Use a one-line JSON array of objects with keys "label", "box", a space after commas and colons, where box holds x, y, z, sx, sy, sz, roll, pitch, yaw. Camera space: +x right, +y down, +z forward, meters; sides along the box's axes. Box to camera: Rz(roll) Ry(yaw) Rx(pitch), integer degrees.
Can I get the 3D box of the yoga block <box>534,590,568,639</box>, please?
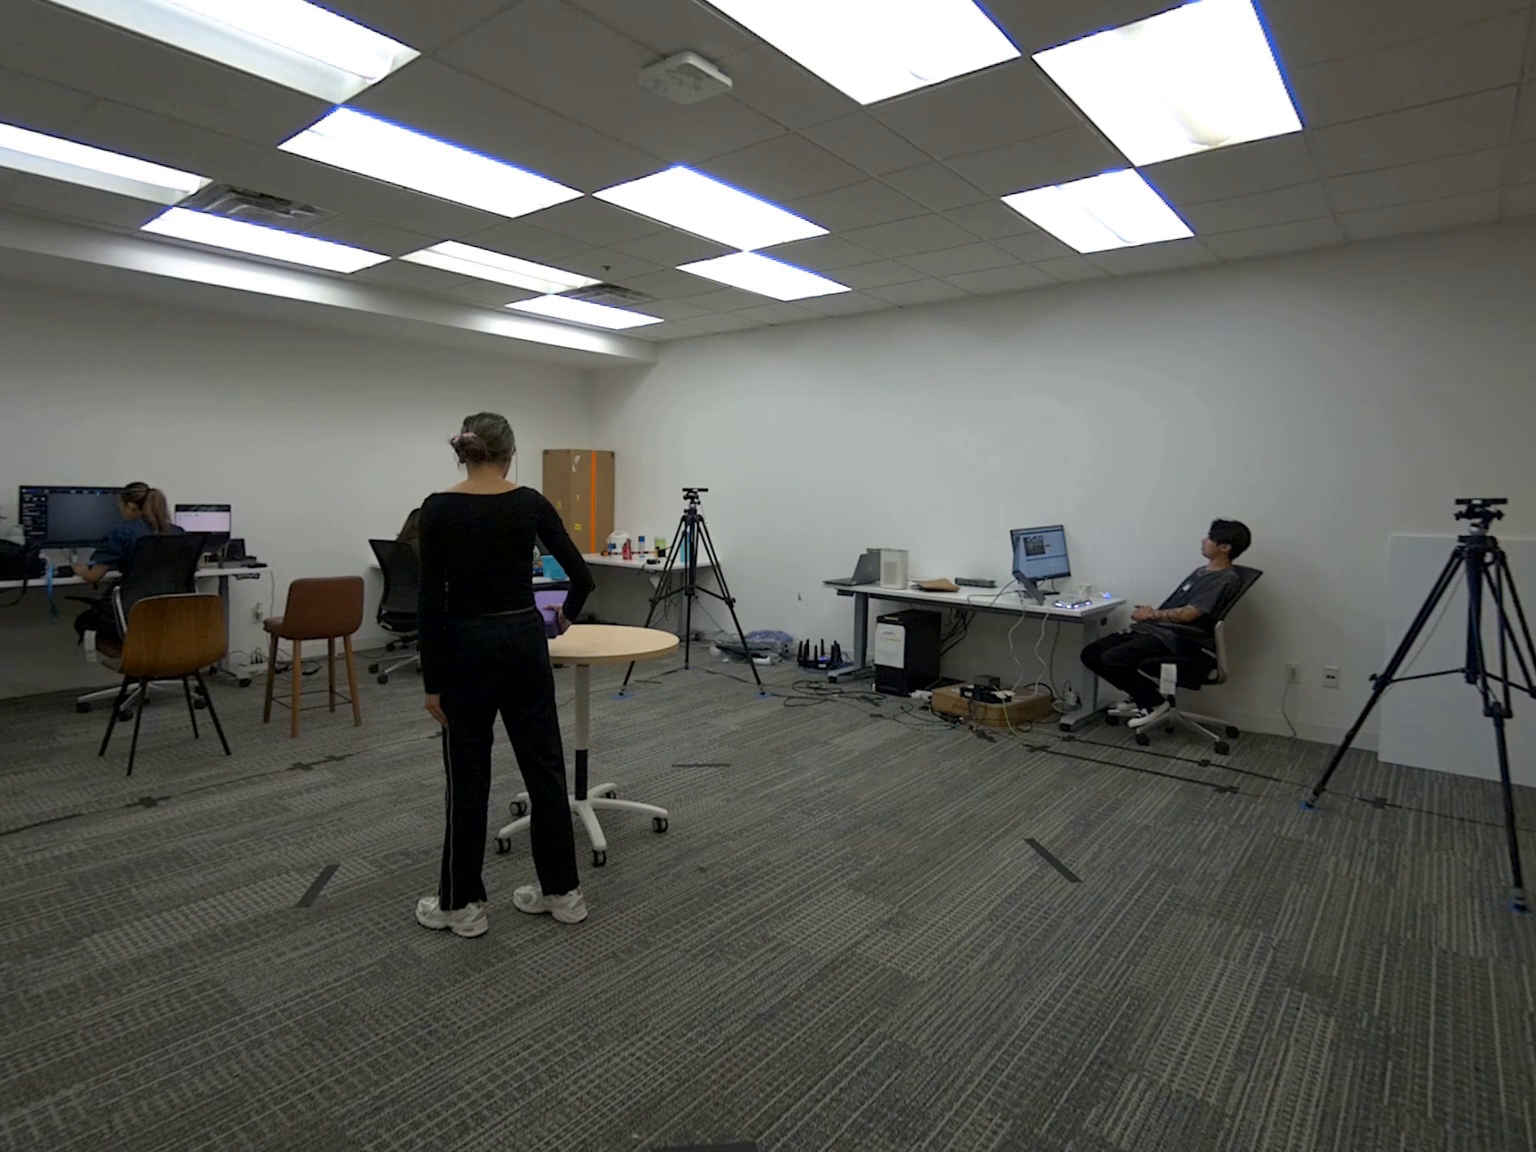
[{"label": "yoga block", "box": [-0.803, 0.130, 3.067, 0.149, 0.075, 0.233, 0, 23, 2]}]
